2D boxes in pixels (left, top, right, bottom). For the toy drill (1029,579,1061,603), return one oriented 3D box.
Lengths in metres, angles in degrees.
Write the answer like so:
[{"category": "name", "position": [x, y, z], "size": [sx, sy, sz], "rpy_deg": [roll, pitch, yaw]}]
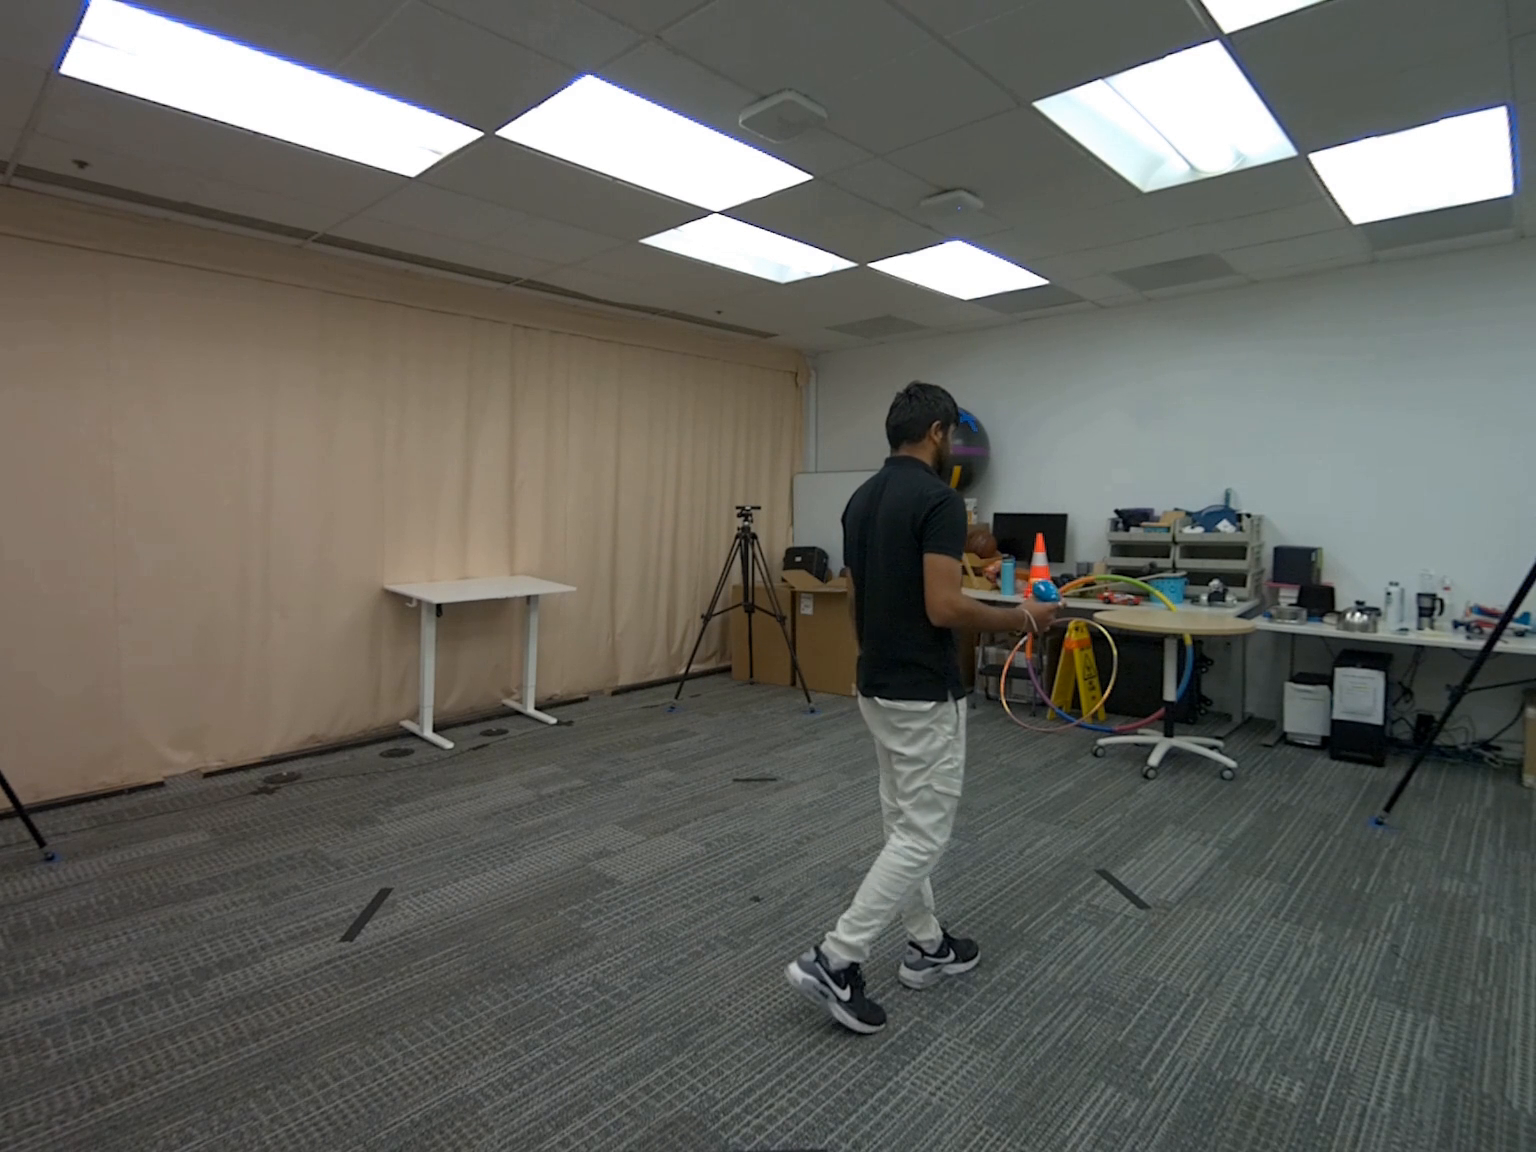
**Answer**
[{"category": "toy drill", "position": [0.743, 0.068, 2.360], "size": [0.060, 0.146, 0.173], "rpy_deg": [22, 17, -16]}]
